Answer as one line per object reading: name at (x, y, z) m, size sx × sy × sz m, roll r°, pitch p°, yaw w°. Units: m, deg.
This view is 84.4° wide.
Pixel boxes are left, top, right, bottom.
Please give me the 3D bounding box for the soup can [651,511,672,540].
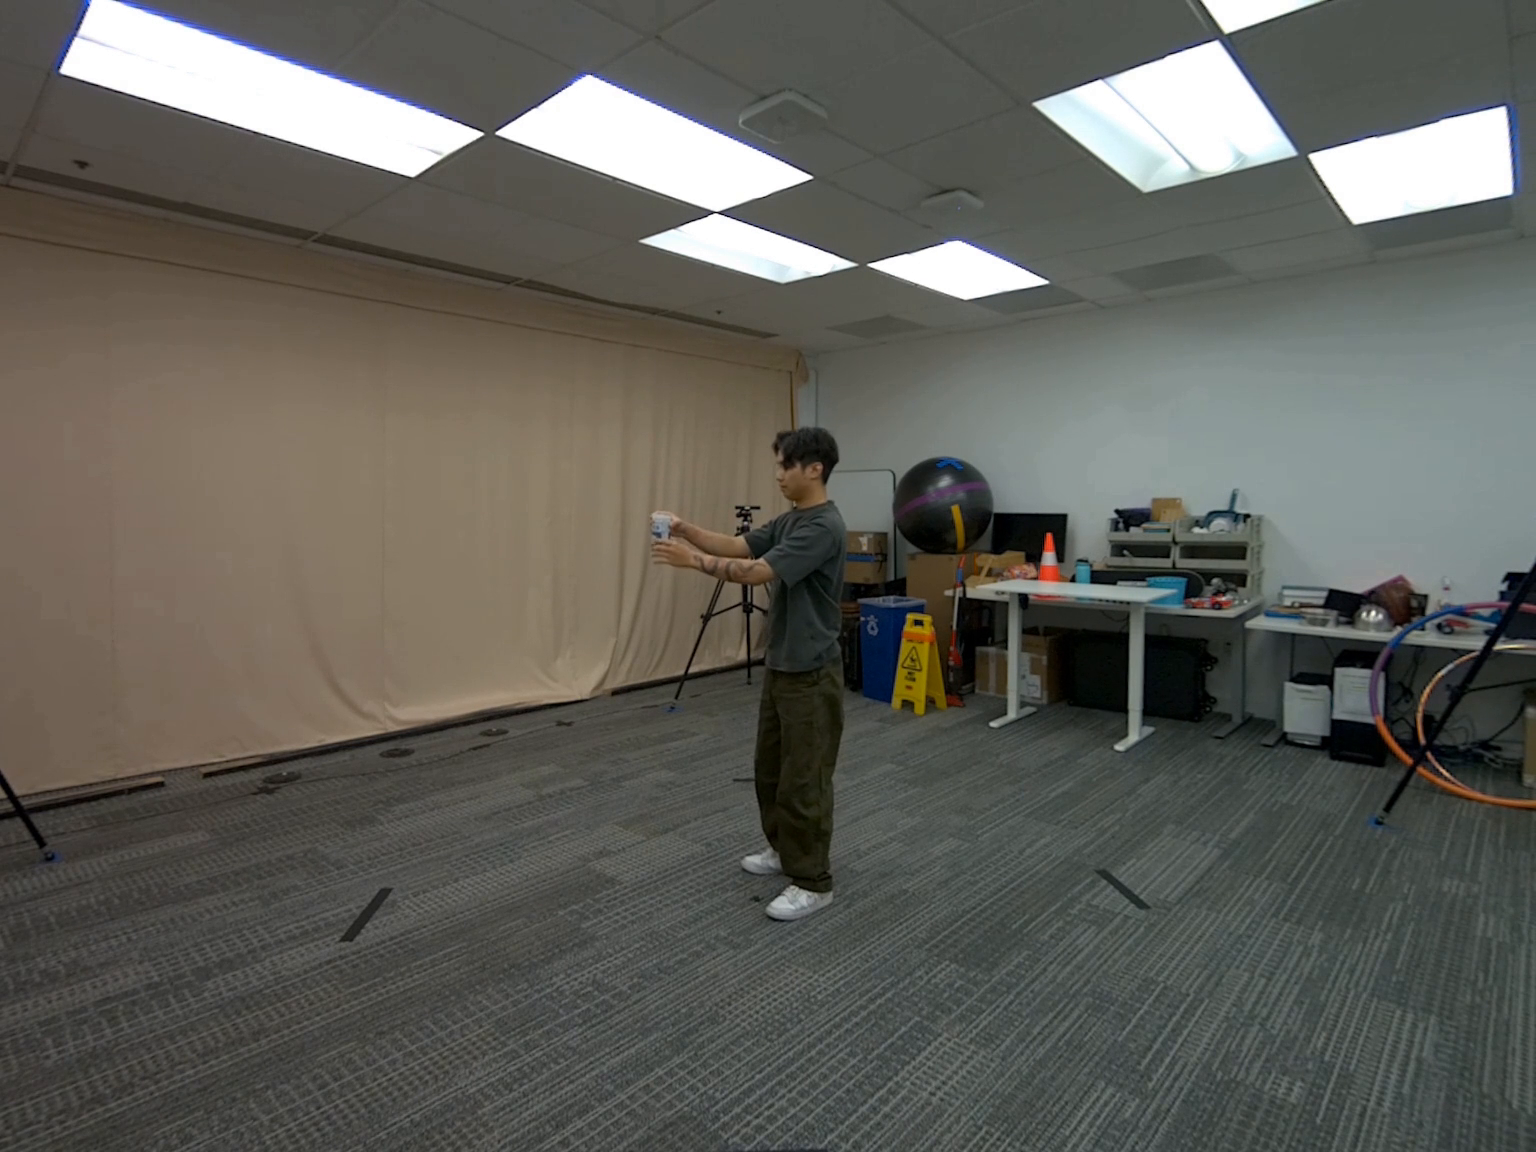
soup can at (-0.371, -0.142, 2.933) m, size 0.067 × 0.121 × 0.067 m, roll -3°, pitch 7°, yaw -1°
